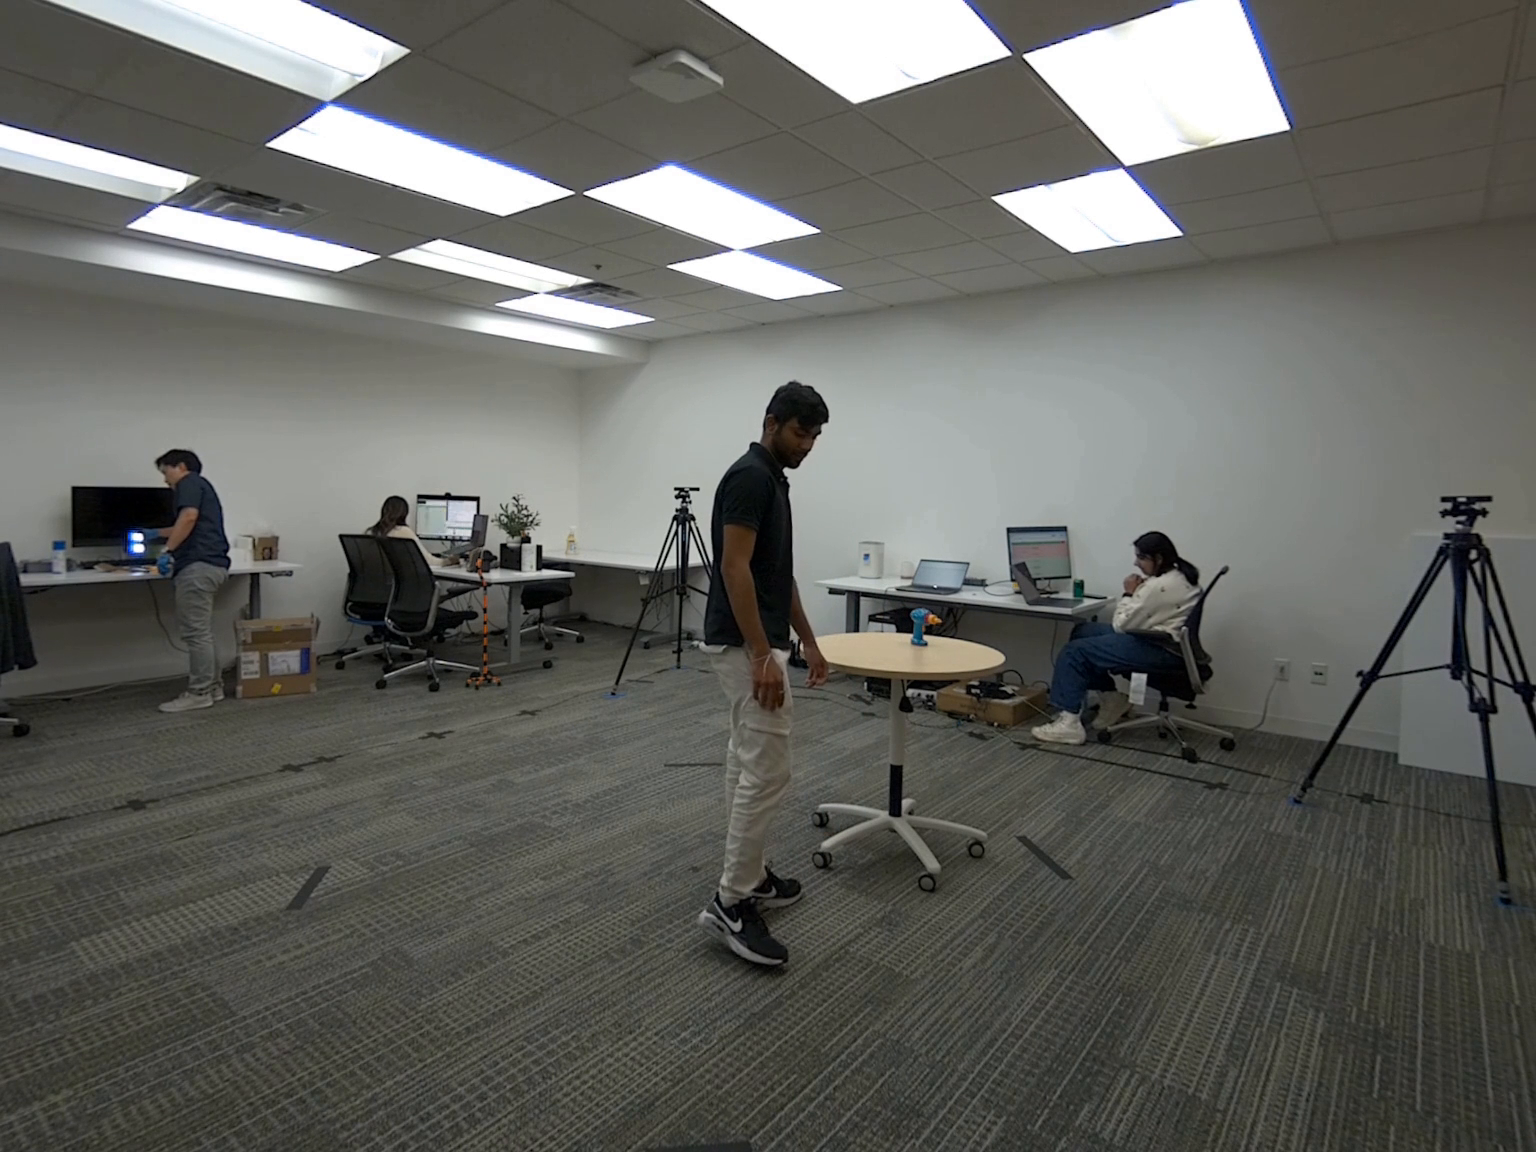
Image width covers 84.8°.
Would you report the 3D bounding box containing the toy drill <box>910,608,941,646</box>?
[{"bbox_3d":[0.619,0.202,3.349,0.059,0.145,0.175,3,5,-29],"label":"toy drill"}]
